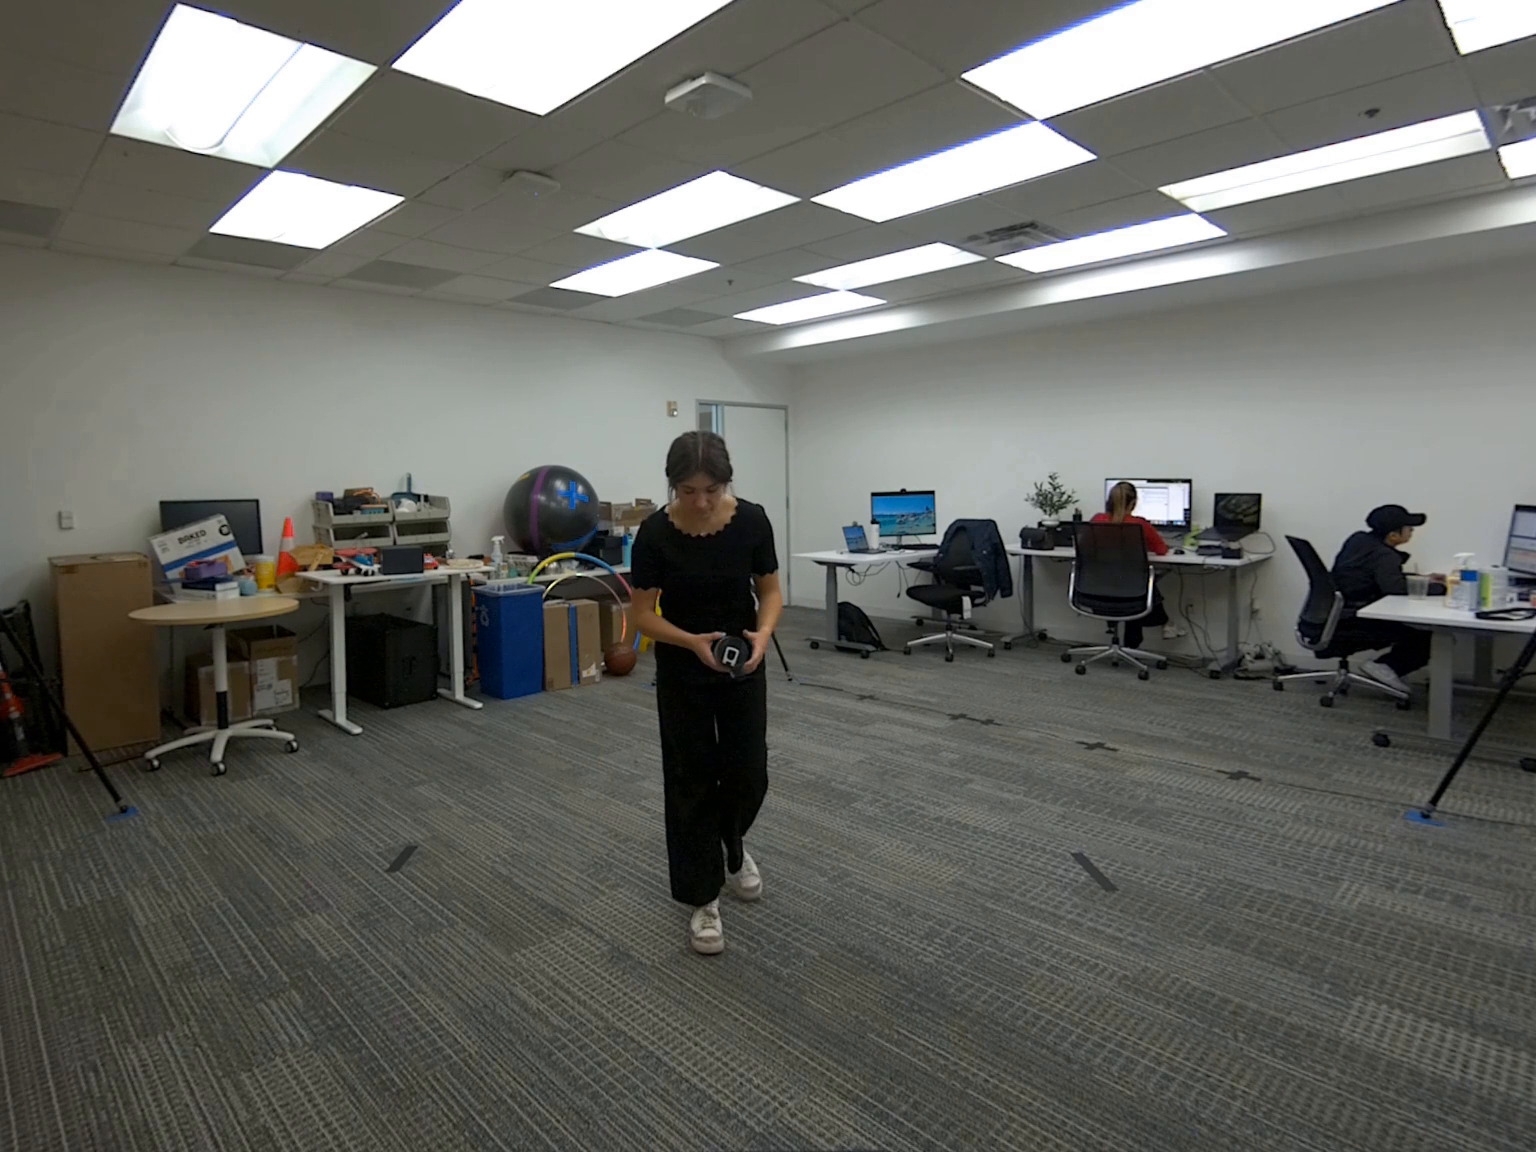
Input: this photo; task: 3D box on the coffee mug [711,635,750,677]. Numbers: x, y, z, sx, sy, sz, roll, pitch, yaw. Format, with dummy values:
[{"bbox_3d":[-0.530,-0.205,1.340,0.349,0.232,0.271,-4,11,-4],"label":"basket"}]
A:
[{"bbox_3d":[-0.107,0.245,2.400,0.087,0.123,0.202,-19,-7,-11],"label":"coffee mug"}]
